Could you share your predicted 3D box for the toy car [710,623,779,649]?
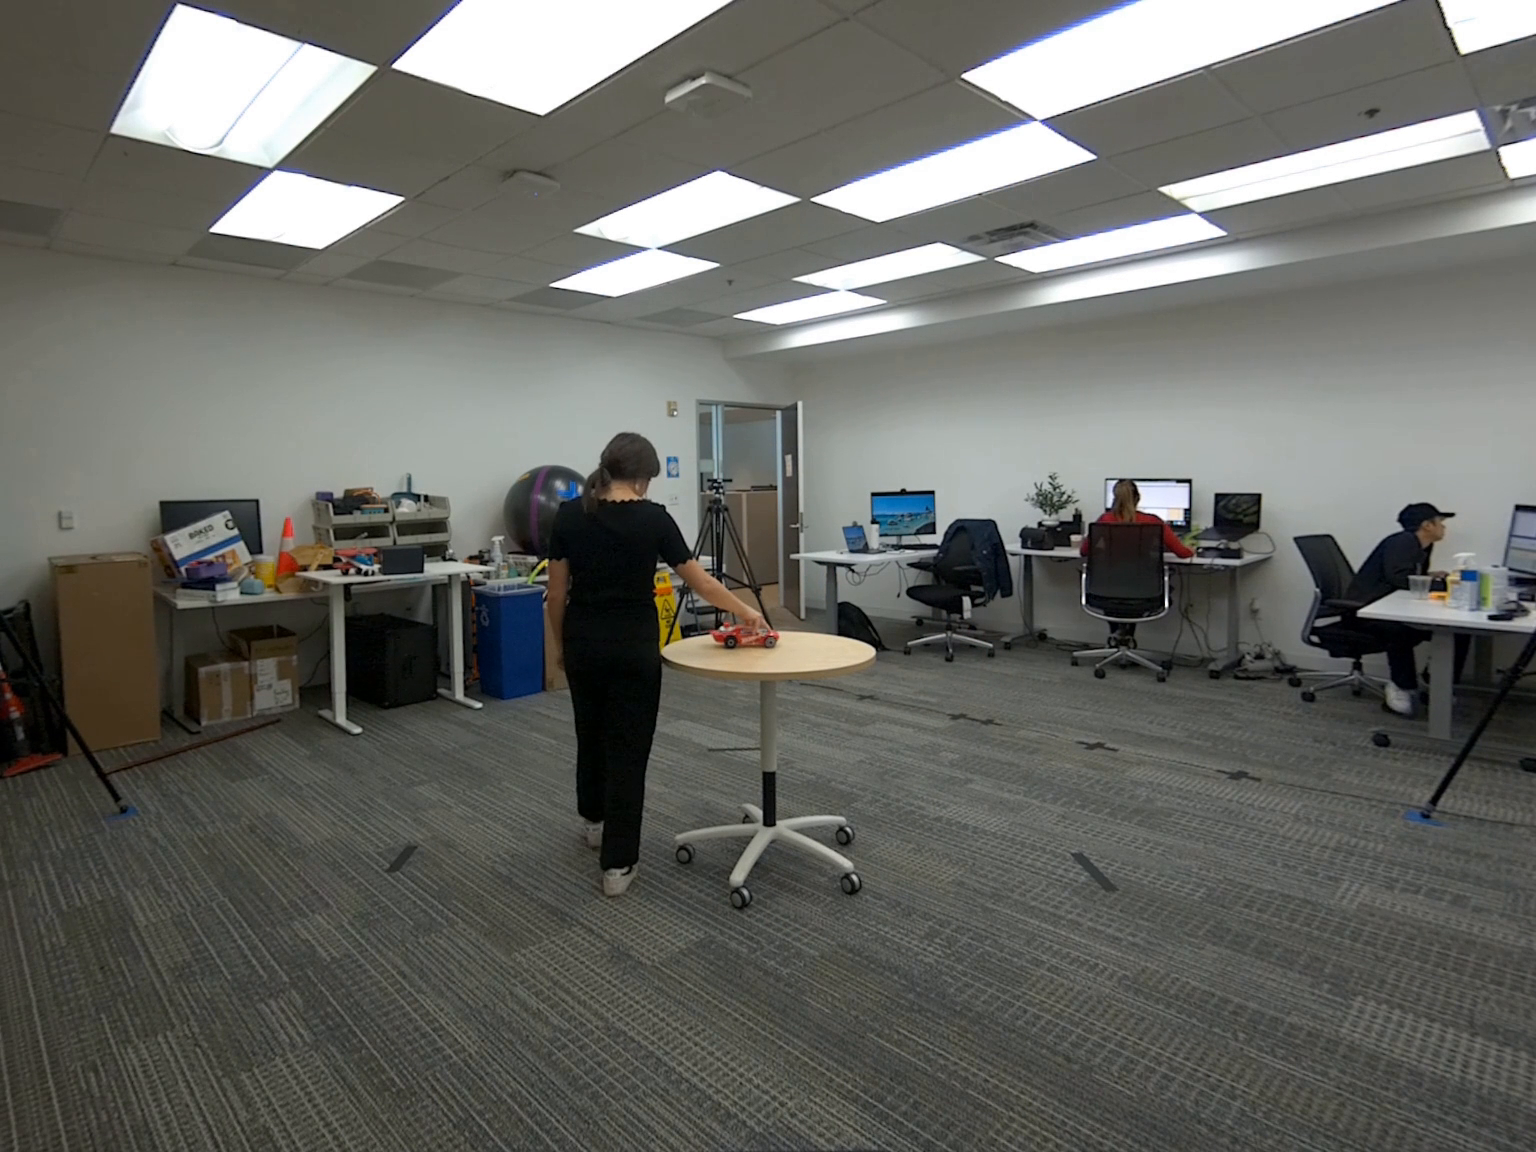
[{"bbox_3d":[-0.091,0.225,3.139,0.253,0.083,0.131,11,3,-4],"label":"toy car"}]
